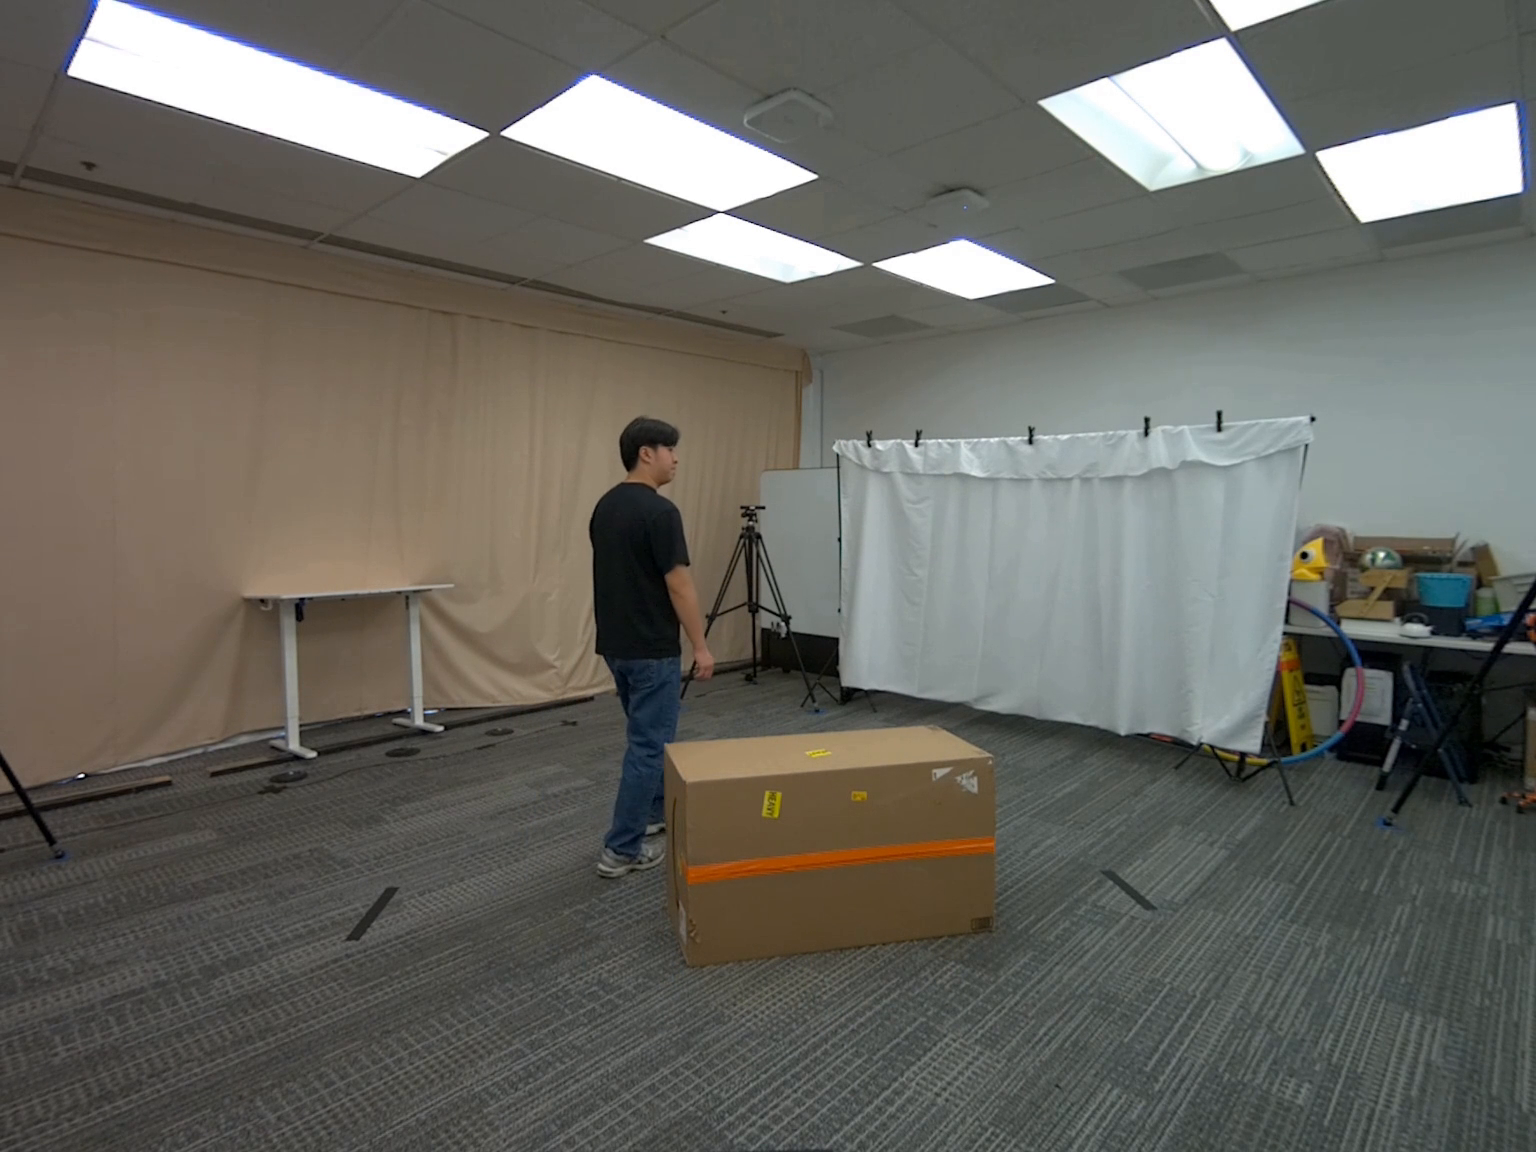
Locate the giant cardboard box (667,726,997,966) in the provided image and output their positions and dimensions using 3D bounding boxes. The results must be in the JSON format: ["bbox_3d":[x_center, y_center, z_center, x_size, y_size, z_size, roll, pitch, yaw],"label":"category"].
[{"bbox_3d":[0.191,0.867,2.830,1.013,0.582,0.454,-2,5,-14],"label":"giant cardboard box"}]
